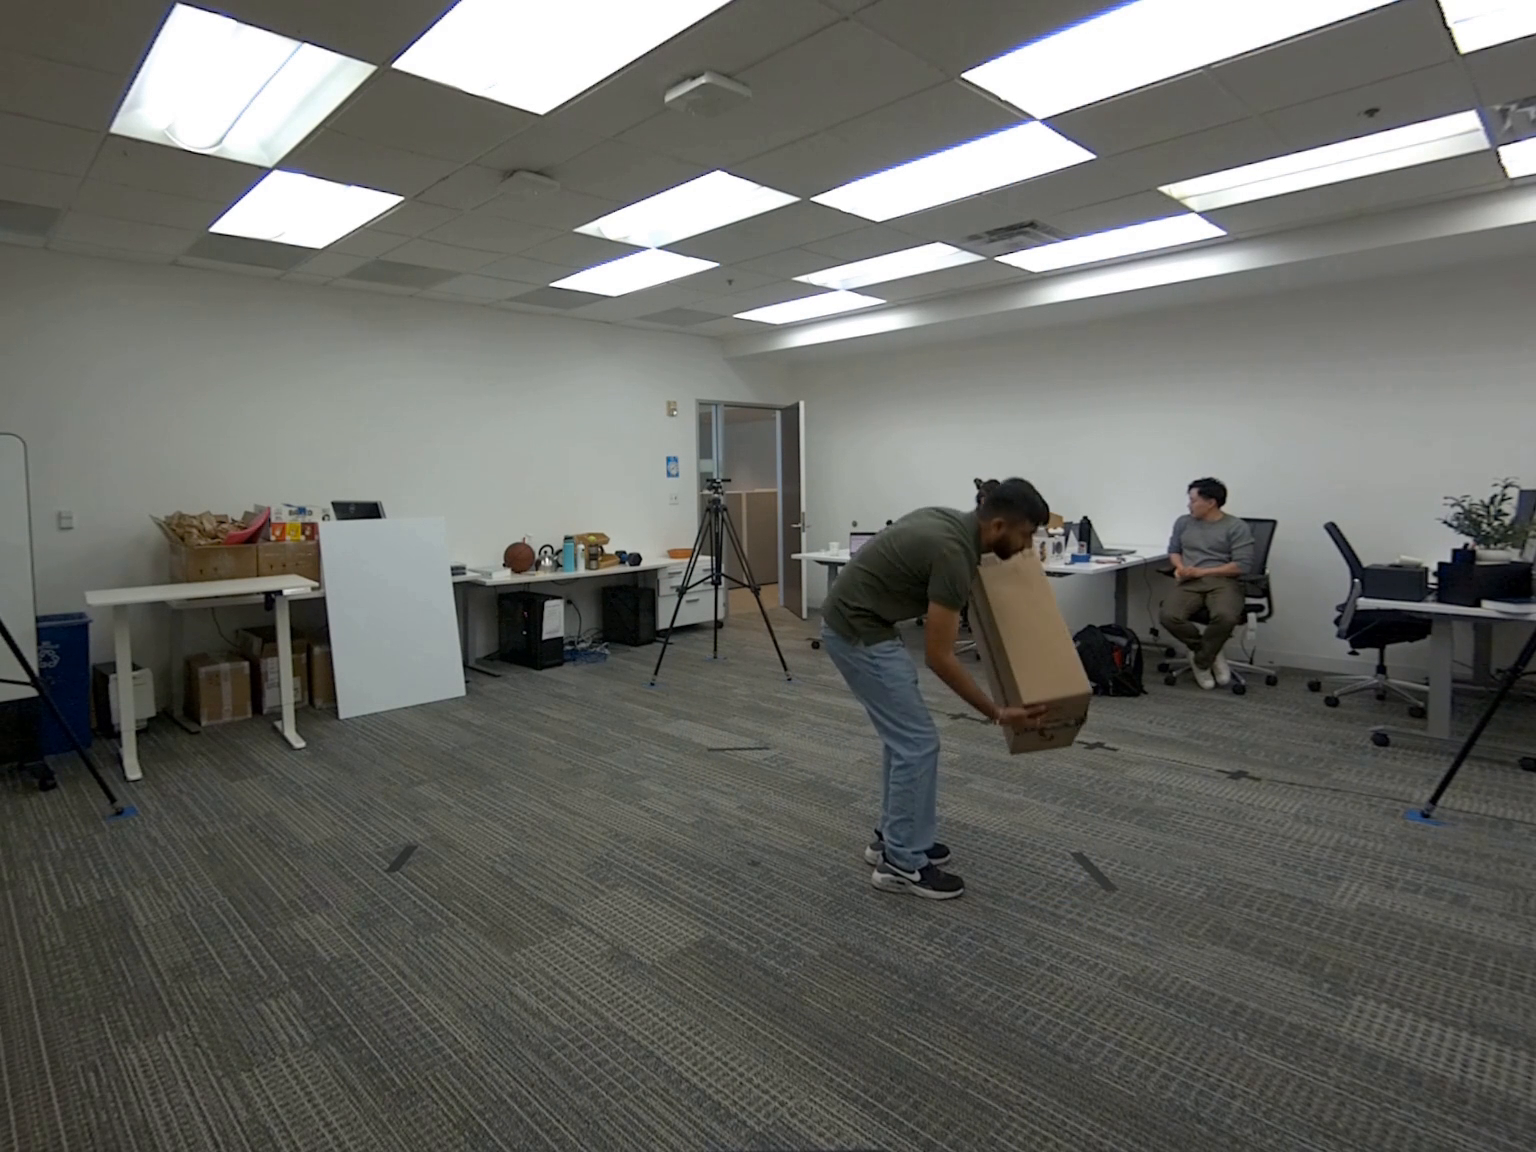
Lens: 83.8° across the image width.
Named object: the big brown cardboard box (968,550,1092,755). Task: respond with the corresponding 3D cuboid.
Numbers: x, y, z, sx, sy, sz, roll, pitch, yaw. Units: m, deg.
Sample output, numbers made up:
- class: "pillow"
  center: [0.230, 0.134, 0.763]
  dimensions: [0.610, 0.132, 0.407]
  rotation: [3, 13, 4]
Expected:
- class: "big brown cardboard box"
  center: [0.886, 0.265, 2.964]
  dimensions: [0.234, 0.607, 0.404]
  rotation: [-11, -35, 2]
